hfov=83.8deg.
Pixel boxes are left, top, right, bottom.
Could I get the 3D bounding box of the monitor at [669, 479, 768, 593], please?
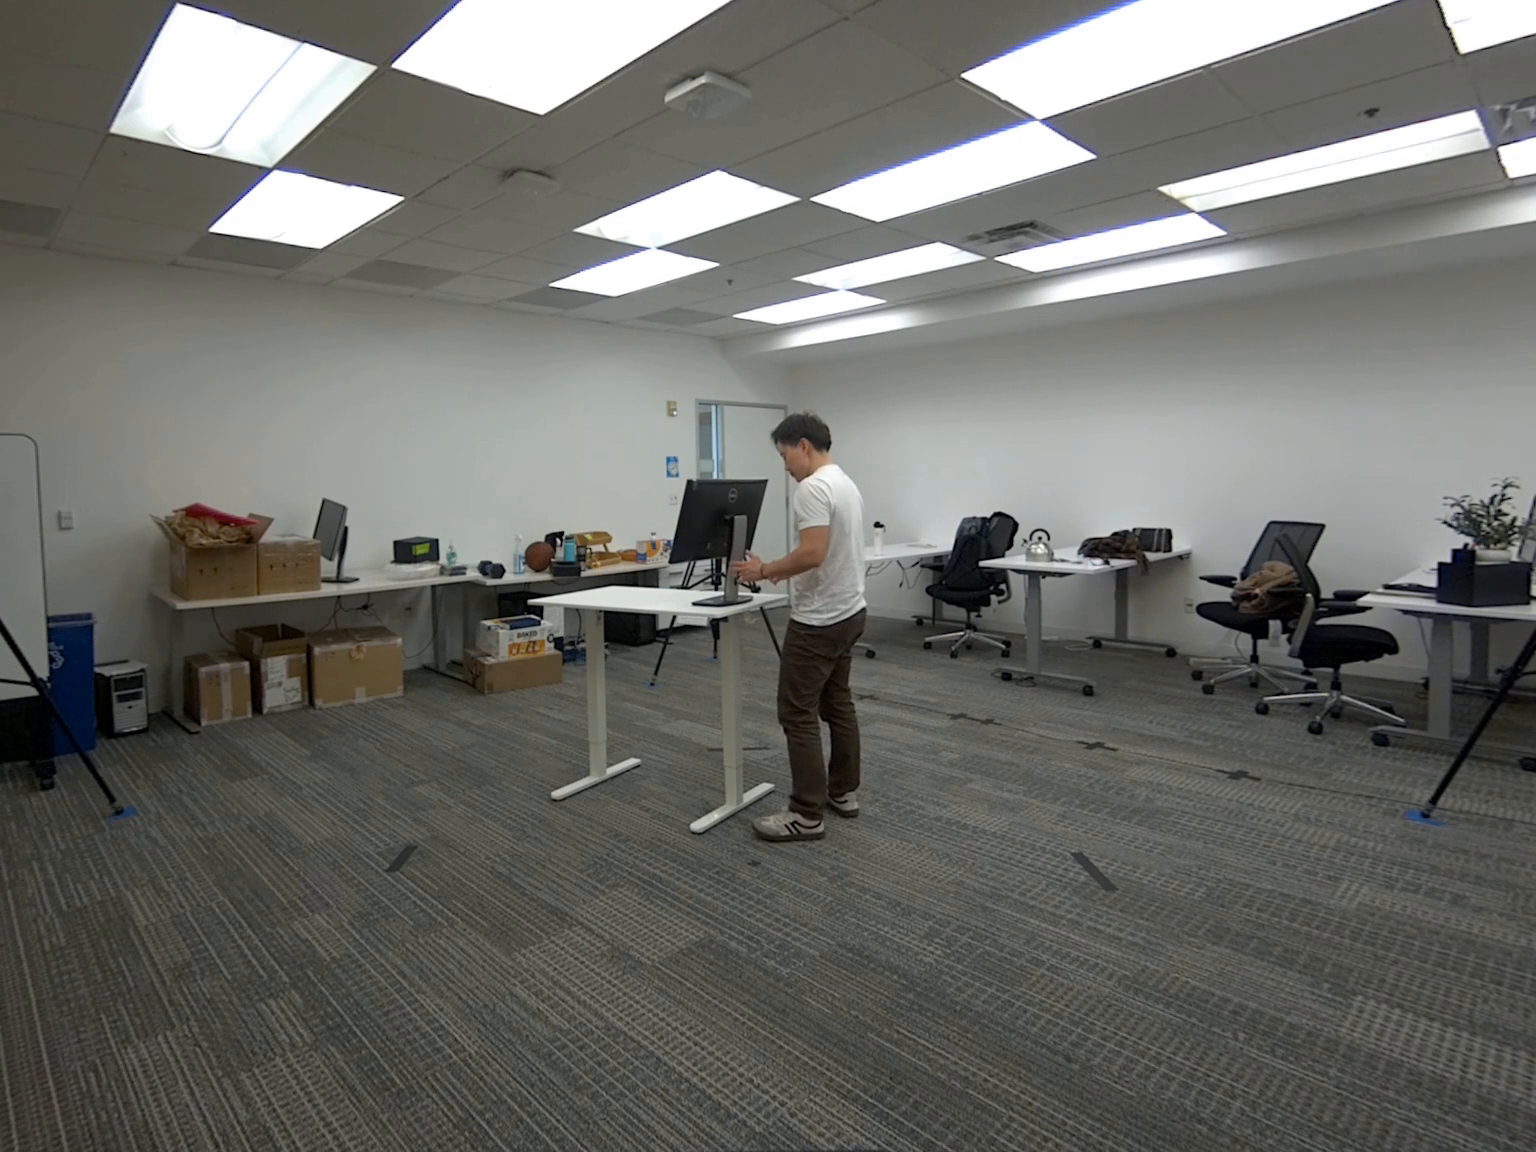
[{"bbox_3d":[-0.174,-0.147,3.558,0.192,0.520,0.526,5,8,33],"label":"monitor"}]
